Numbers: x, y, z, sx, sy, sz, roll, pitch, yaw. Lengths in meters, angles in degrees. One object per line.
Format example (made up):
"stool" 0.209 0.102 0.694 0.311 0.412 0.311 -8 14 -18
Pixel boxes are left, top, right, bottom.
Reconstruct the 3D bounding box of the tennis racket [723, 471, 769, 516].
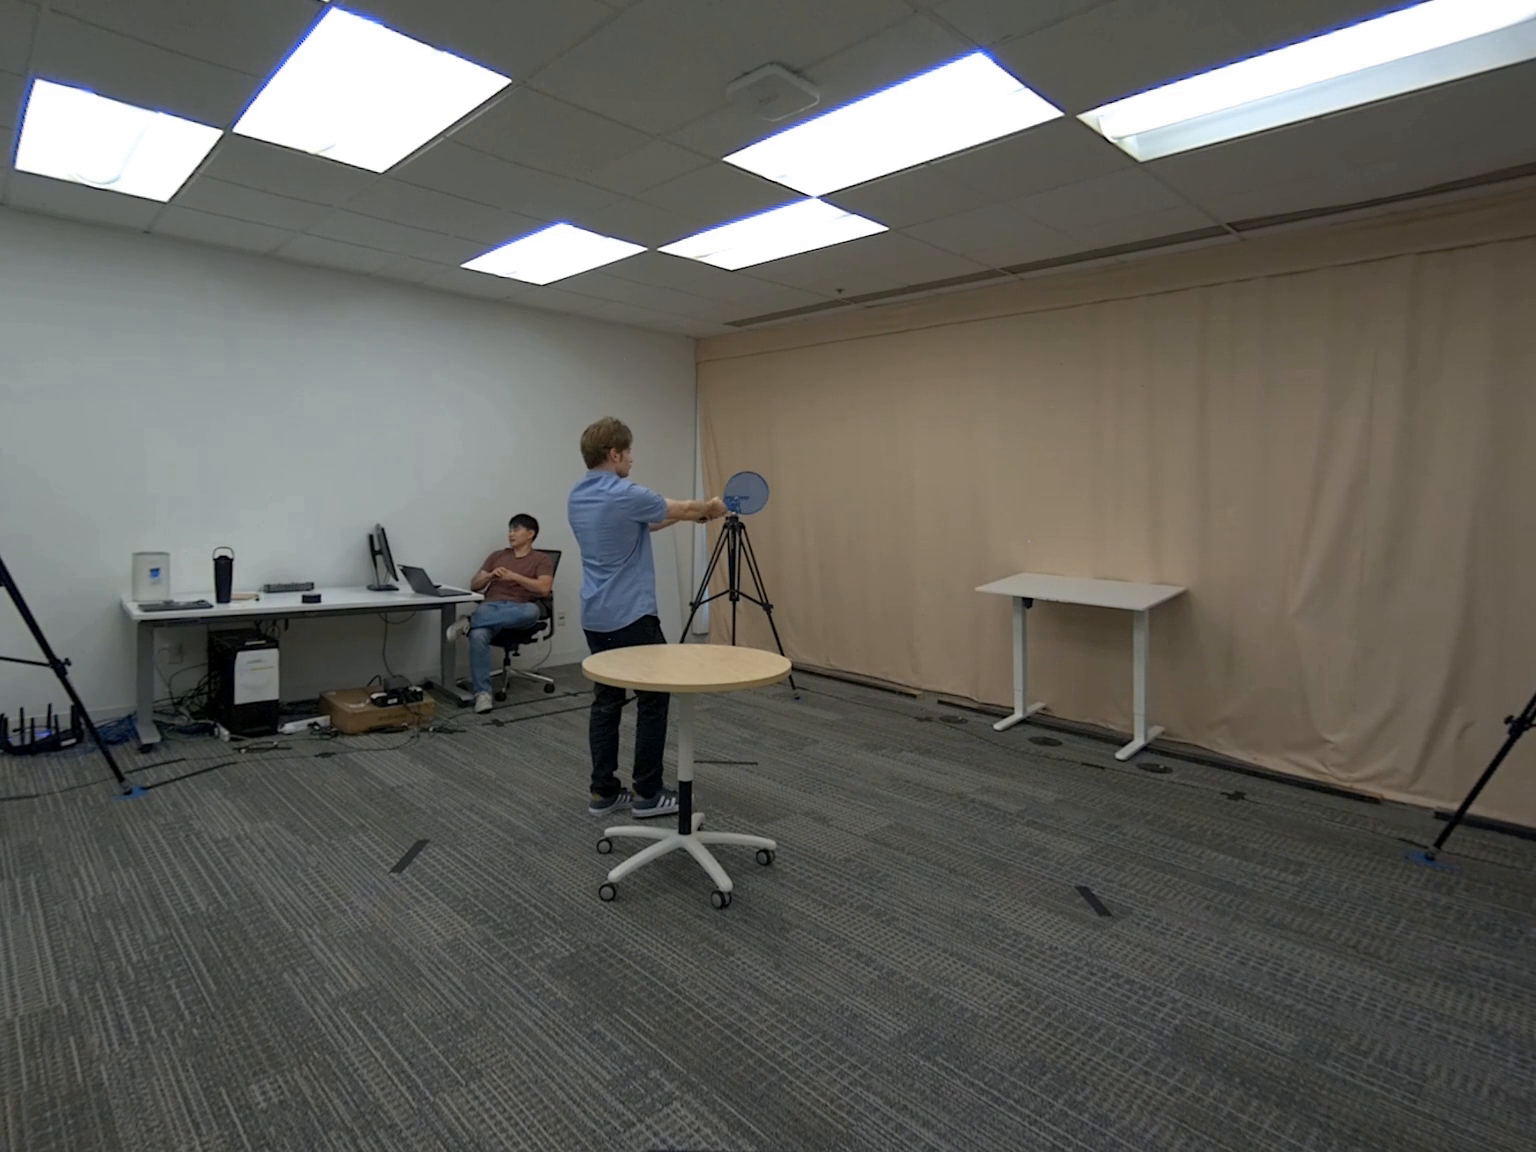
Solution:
"tennis racket" -0.168 -0.360 4.120 0.431 0.213 0.032 -37 1 -26
